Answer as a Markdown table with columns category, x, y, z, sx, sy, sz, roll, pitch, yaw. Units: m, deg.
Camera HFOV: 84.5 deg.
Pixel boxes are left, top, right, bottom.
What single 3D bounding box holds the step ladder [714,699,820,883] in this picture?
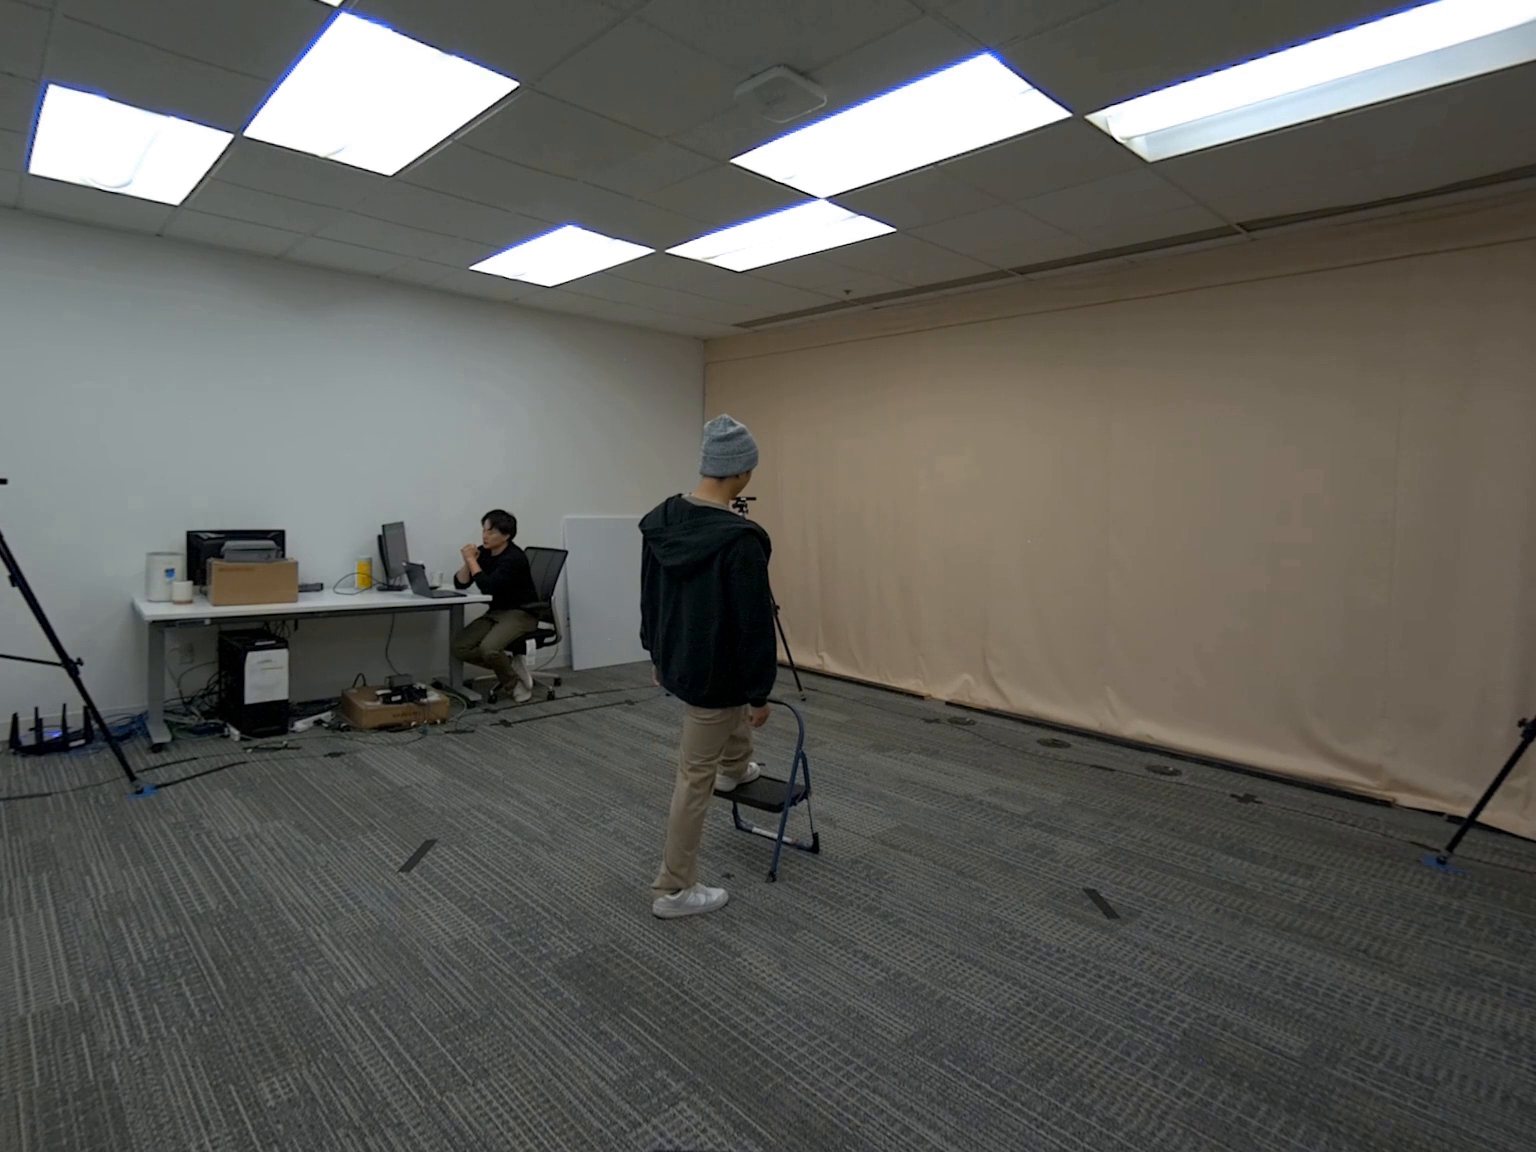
| category | x | y | z | sx | sy | sz | roll | pitch | yaw |
| --- | --- | --- | --- | --- | --- | --- | --- | --- | --- |
| step ladder | -0.054 | 0.790 | 3.307 | 0.441 | 0.605 | 0.341 | 4 | 4 | 37 |
